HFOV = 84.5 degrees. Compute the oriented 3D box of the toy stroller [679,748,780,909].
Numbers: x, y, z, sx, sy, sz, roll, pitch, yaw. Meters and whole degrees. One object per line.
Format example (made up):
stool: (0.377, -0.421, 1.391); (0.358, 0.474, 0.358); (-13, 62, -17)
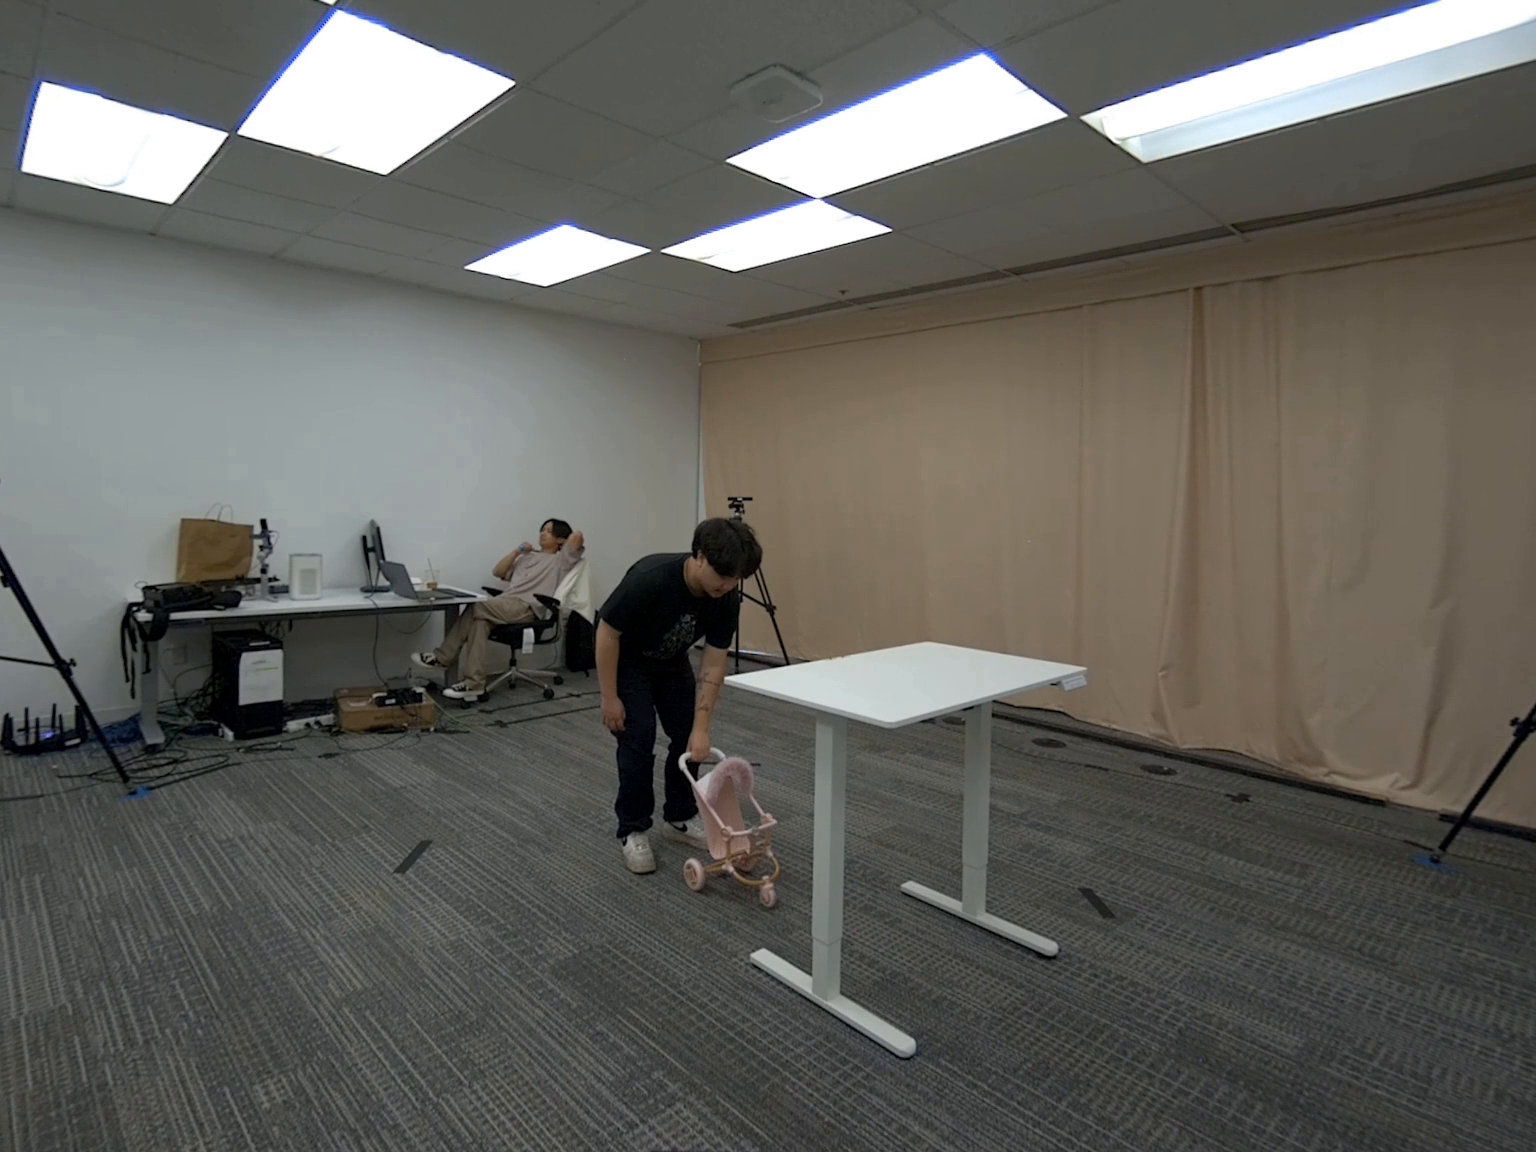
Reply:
toy stroller: (-0.132, 0.890, 3.011); (0.275, 0.539, 0.346); (-2, -10, -38)
